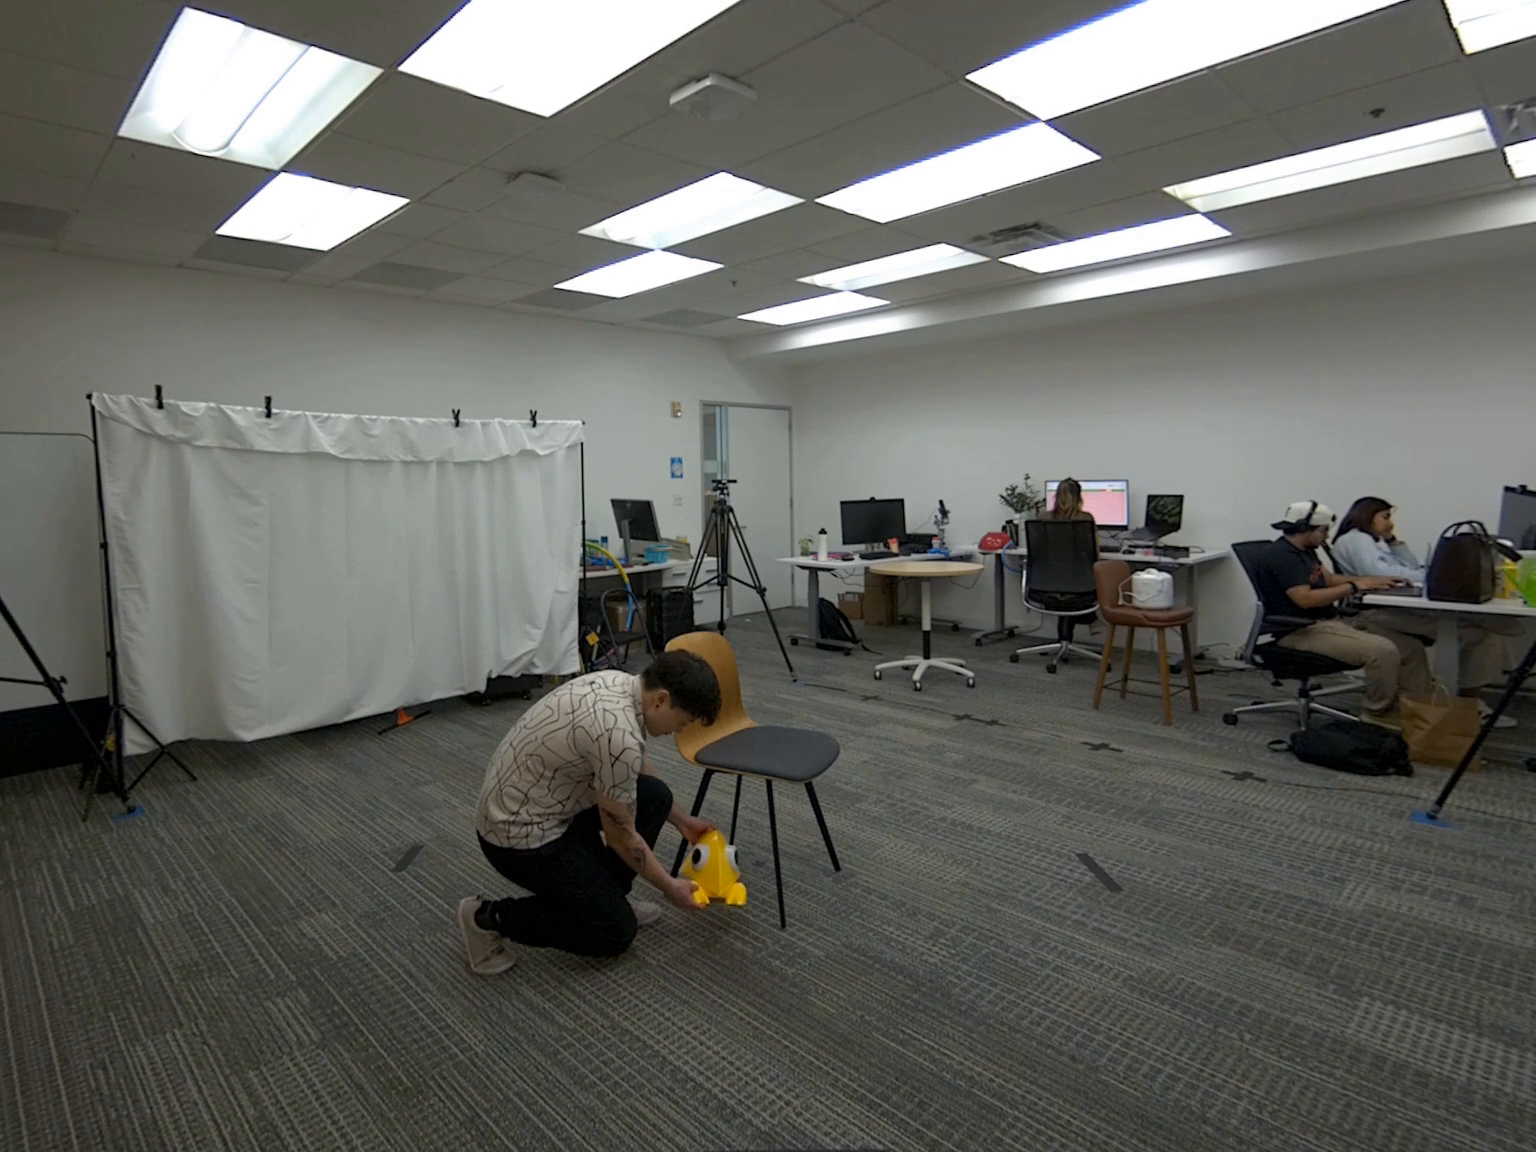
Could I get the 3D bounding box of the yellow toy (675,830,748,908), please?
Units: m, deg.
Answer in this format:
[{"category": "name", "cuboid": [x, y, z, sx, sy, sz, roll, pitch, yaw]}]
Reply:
[{"category": "yellow toy", "cuboid": [-0.165, 0.900, 2.694, 0.202, 0.234, 0.192, 7, -18, -11]}]
